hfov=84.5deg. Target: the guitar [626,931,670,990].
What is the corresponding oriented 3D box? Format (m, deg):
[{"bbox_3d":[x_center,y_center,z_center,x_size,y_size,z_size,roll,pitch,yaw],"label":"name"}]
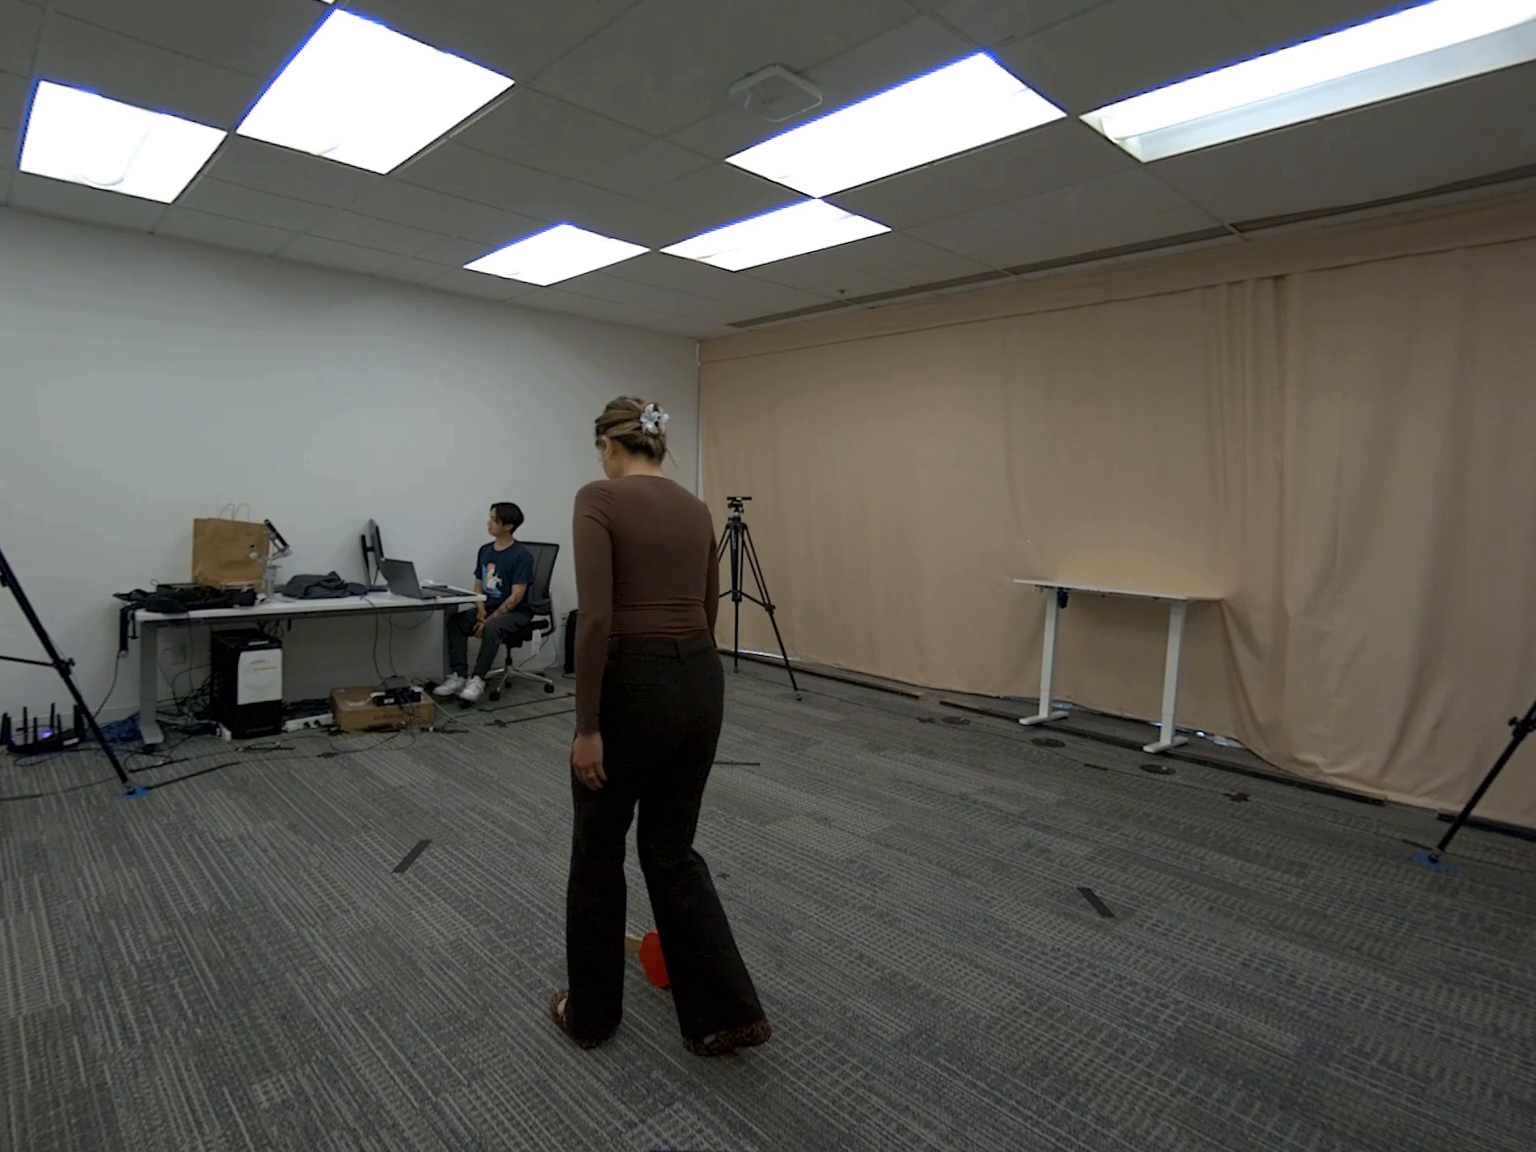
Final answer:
[{"bbox_3d":[-0.329,1.127,2.432,0.505,0.194,0.069,-17,-11,36],"label":"guitar"}]
